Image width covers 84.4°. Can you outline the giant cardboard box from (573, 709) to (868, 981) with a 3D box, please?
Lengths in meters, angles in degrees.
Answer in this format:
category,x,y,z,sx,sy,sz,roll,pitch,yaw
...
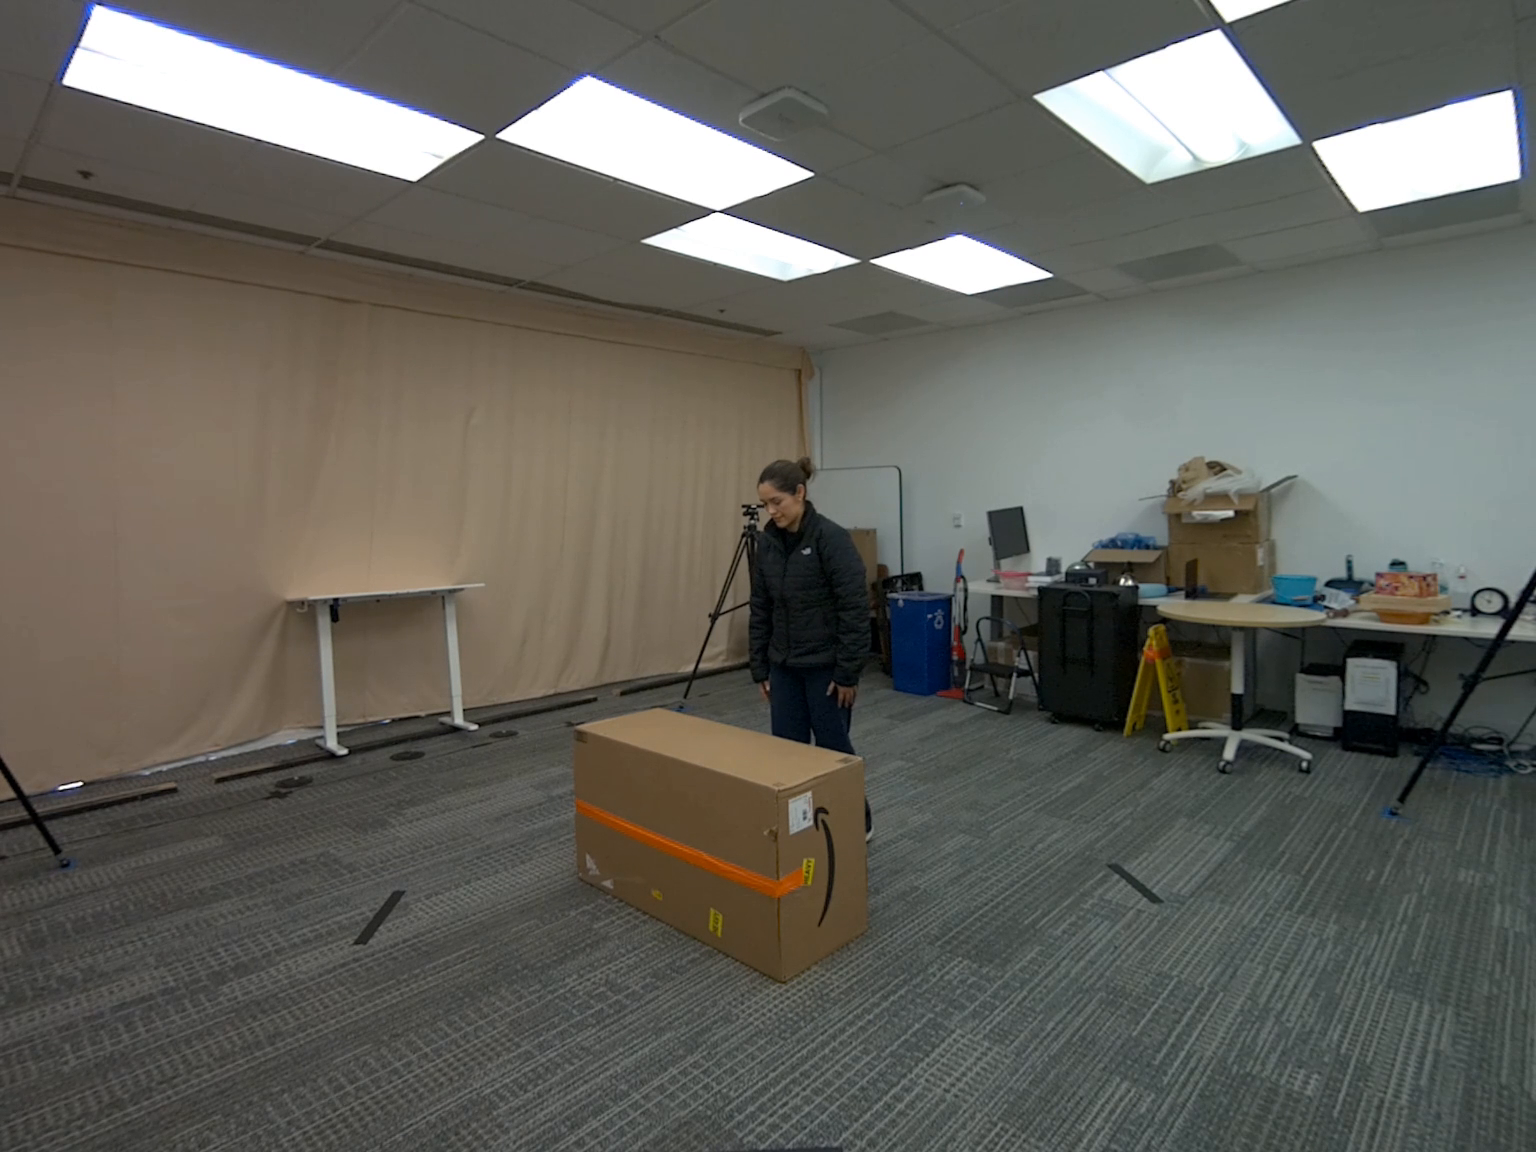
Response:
category,x,y,z,sx,sy,sz,roll,pitch,yaw
giant cardboard box,-0.192,0.863,2.933,1.061,0.583,0.433,3,4,44
